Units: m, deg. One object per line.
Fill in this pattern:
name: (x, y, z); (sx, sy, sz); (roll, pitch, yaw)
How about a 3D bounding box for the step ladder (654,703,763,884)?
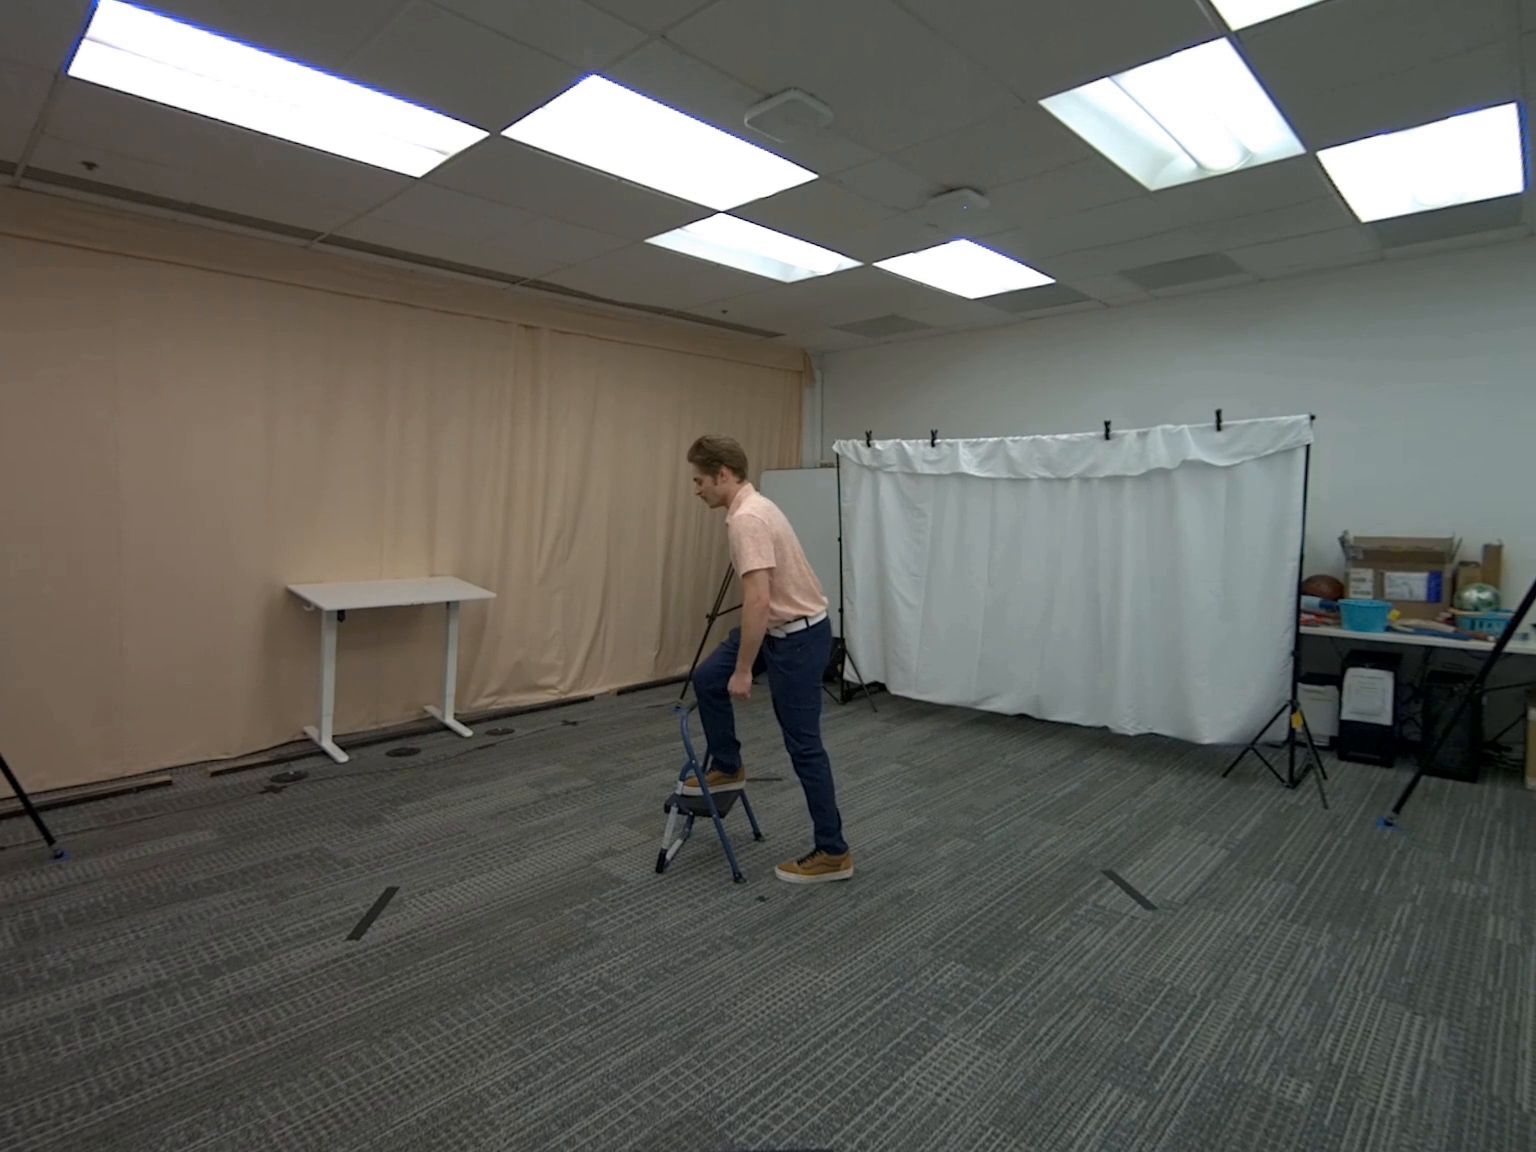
step ladder: (-0.228, 0.816, 3.342); (0.354, 0.605, 0.425); (0, 3, 12)
